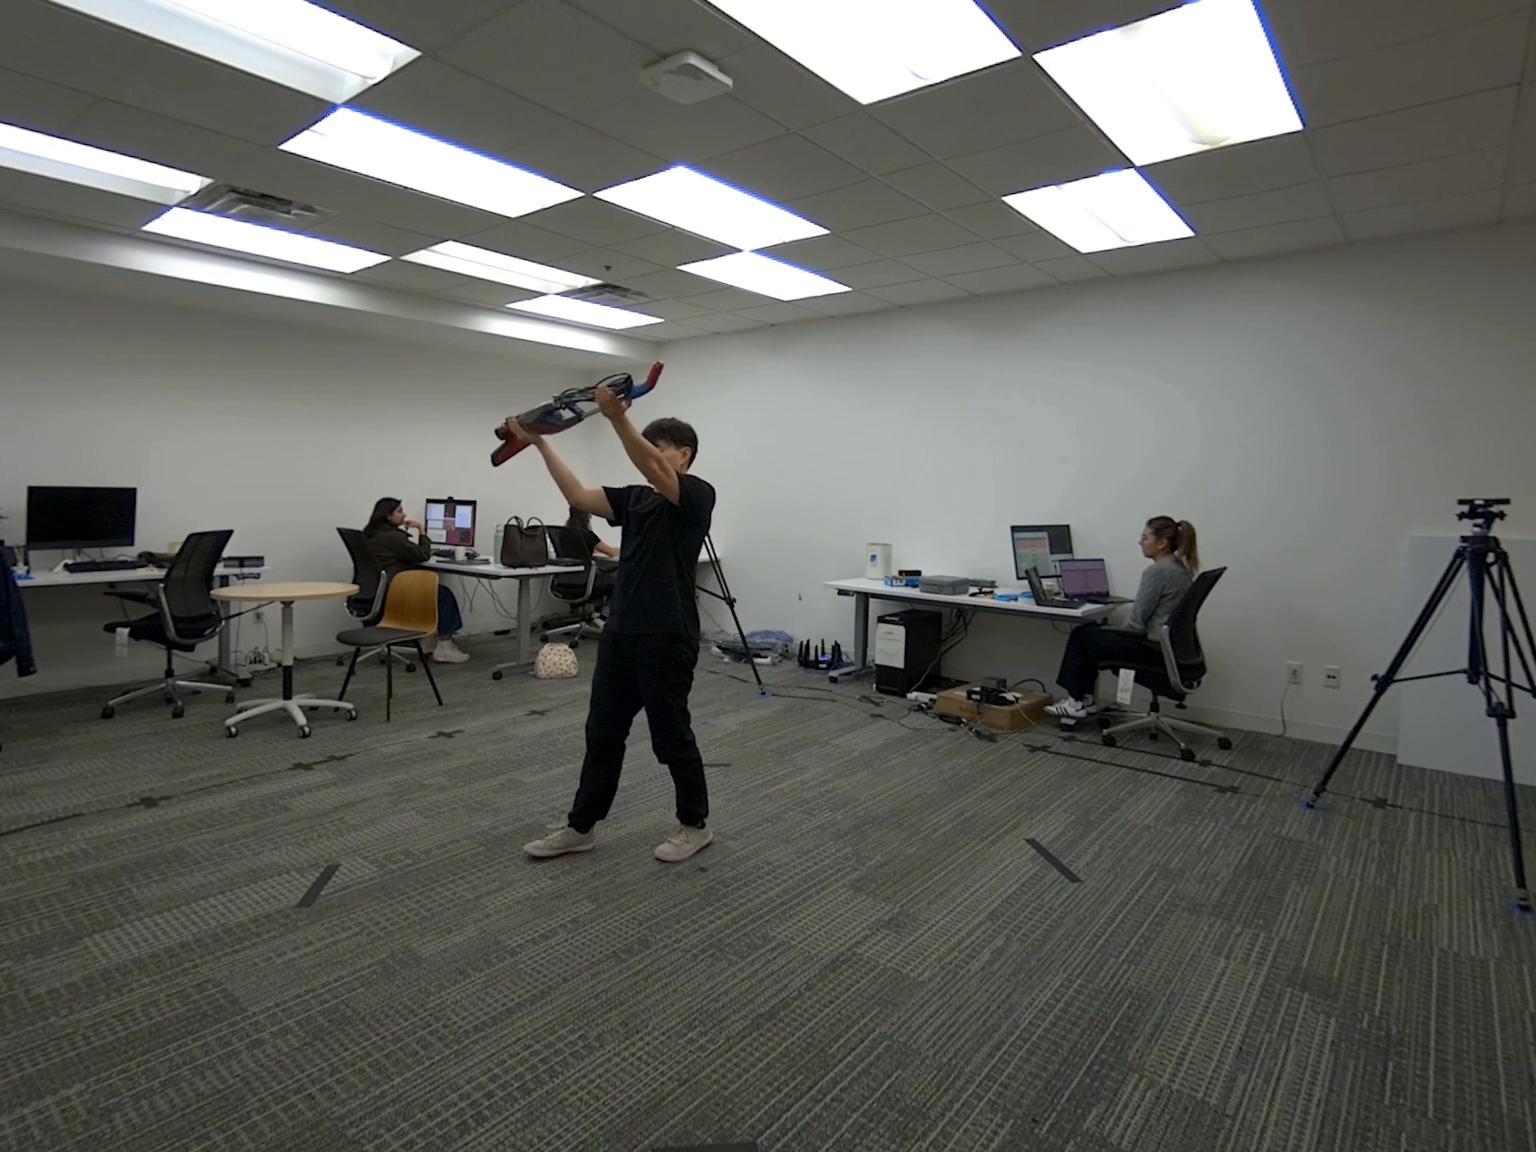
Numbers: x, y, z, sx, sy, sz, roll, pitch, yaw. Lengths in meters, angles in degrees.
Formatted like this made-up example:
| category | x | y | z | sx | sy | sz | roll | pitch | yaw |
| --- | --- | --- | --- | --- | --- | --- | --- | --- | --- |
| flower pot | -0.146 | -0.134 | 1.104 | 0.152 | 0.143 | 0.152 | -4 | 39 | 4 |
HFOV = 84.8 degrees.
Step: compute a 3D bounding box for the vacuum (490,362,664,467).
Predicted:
| category | x | y | z | sx | sy | sz | roll | pitch | yaw |
| --- | --- | --- | --- | --- | --- | --- | --- | --- | --- |
| vacuum | -0.675 | -0.586 | 2.897 | 0.251 | 0.141 | 1.077 | -40 | 20 | -34 |
